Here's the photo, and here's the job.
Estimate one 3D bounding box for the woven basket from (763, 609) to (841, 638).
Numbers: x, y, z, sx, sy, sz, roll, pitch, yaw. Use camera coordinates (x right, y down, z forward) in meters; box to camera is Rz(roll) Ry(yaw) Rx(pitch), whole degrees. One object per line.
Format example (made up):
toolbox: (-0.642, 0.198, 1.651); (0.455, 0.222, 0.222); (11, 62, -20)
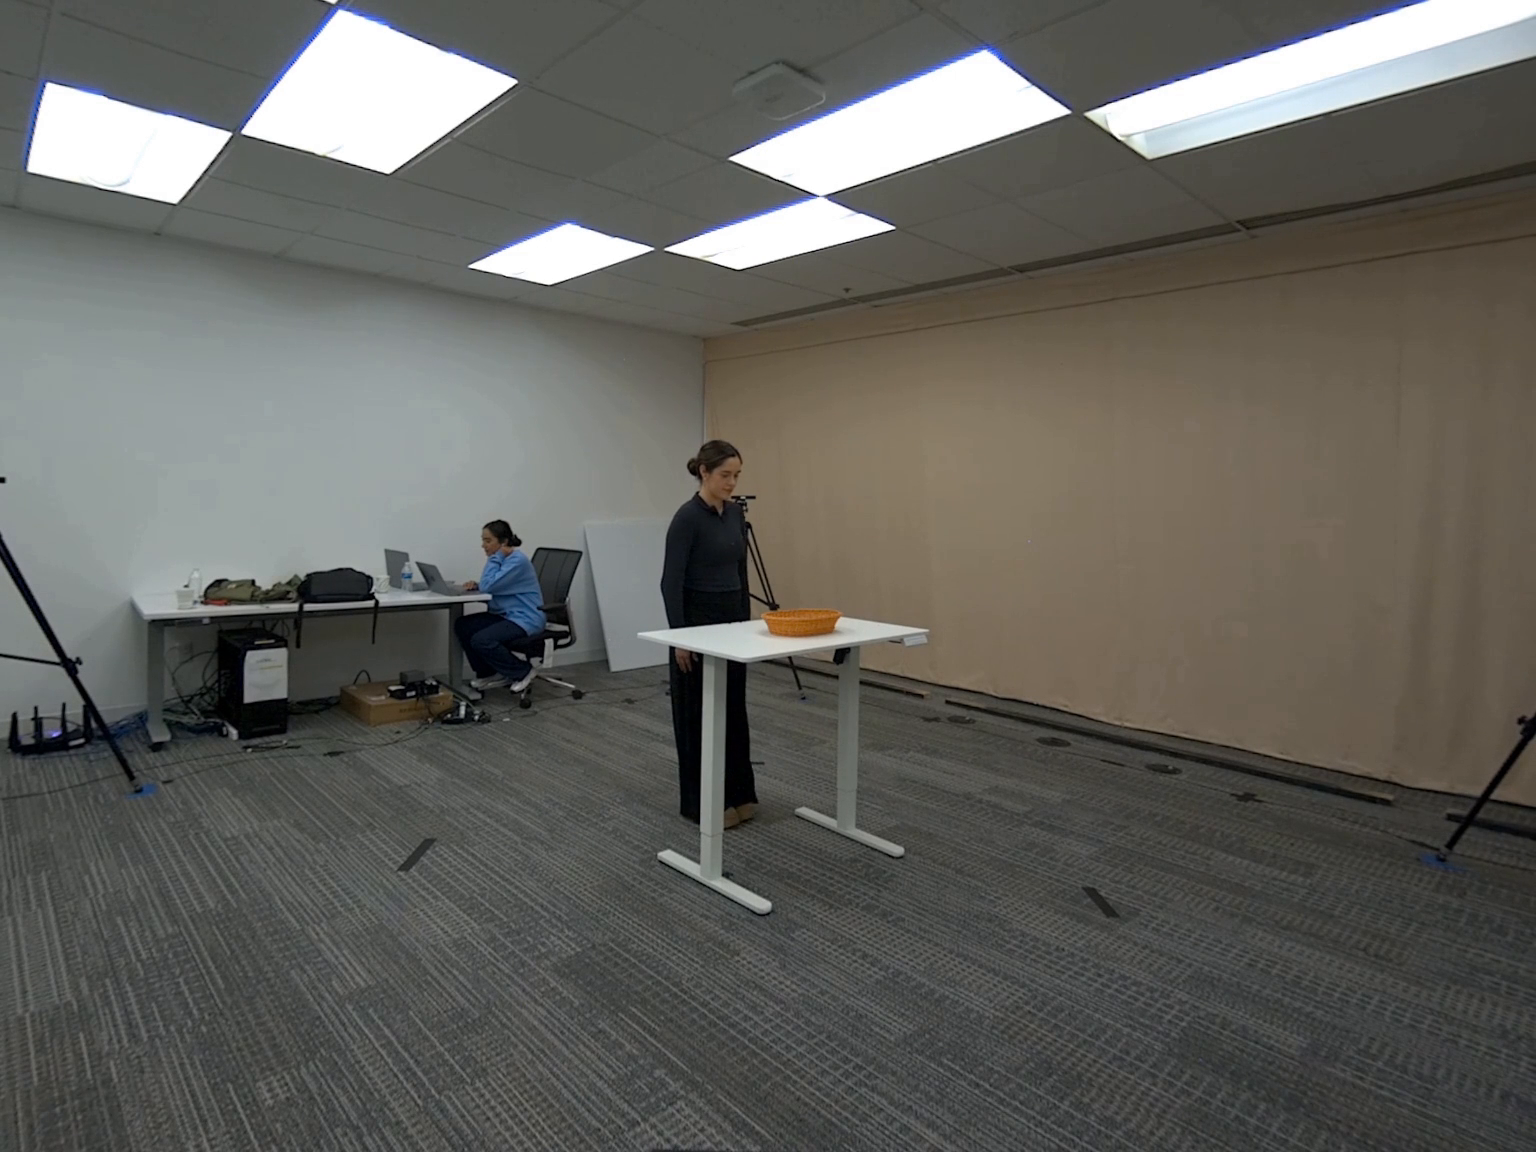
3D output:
woven basket: (0.123, 0.186, 3.236); (0.342, 0.073, 0.259); (-4, 7, -45)
